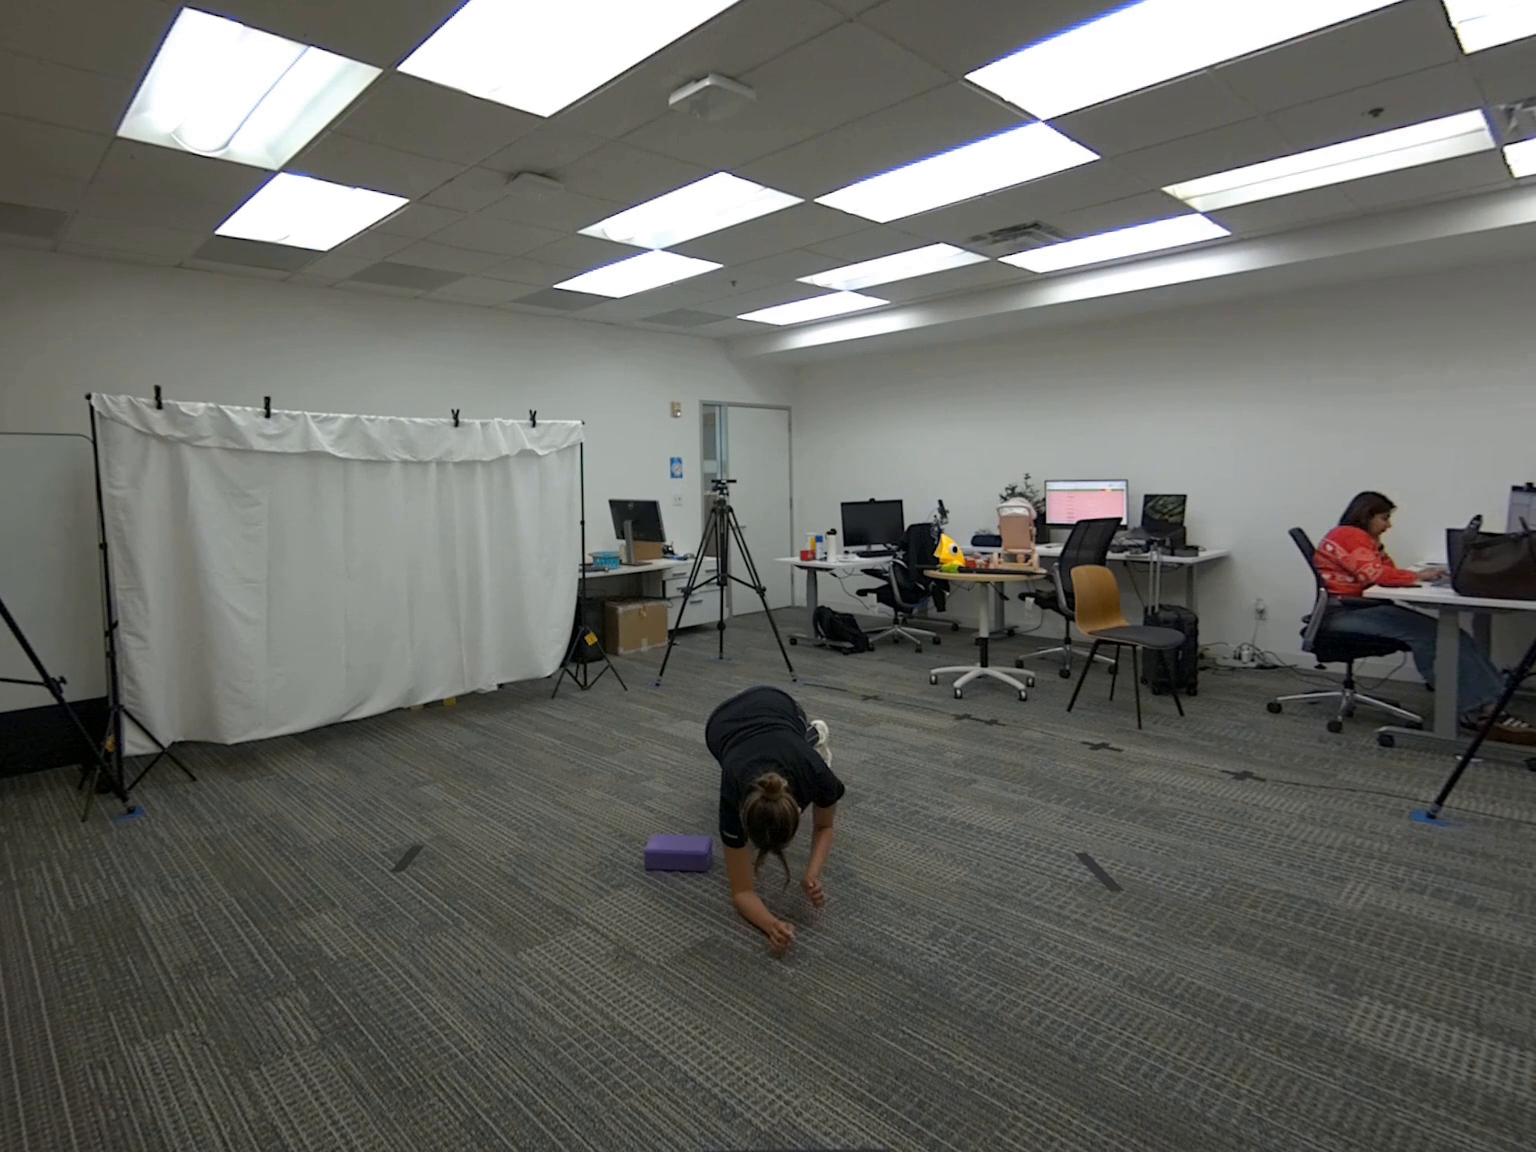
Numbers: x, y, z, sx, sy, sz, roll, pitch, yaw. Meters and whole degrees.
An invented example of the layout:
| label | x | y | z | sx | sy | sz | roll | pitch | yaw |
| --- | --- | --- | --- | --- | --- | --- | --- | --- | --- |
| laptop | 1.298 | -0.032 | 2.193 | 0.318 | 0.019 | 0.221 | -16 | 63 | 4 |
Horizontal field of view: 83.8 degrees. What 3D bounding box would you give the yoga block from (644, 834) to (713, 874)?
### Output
| label | x | y | z | sx | sy | sz | roll | pitch | yaw |
| --- | --- | --- | --- | --- | --- | --- | --- | --- | --- |
| yoga block | -0.322 | 1.012 | 3.121 | 0.231 | 0.076 | 0.149 | 0 | 7 | 7 |
